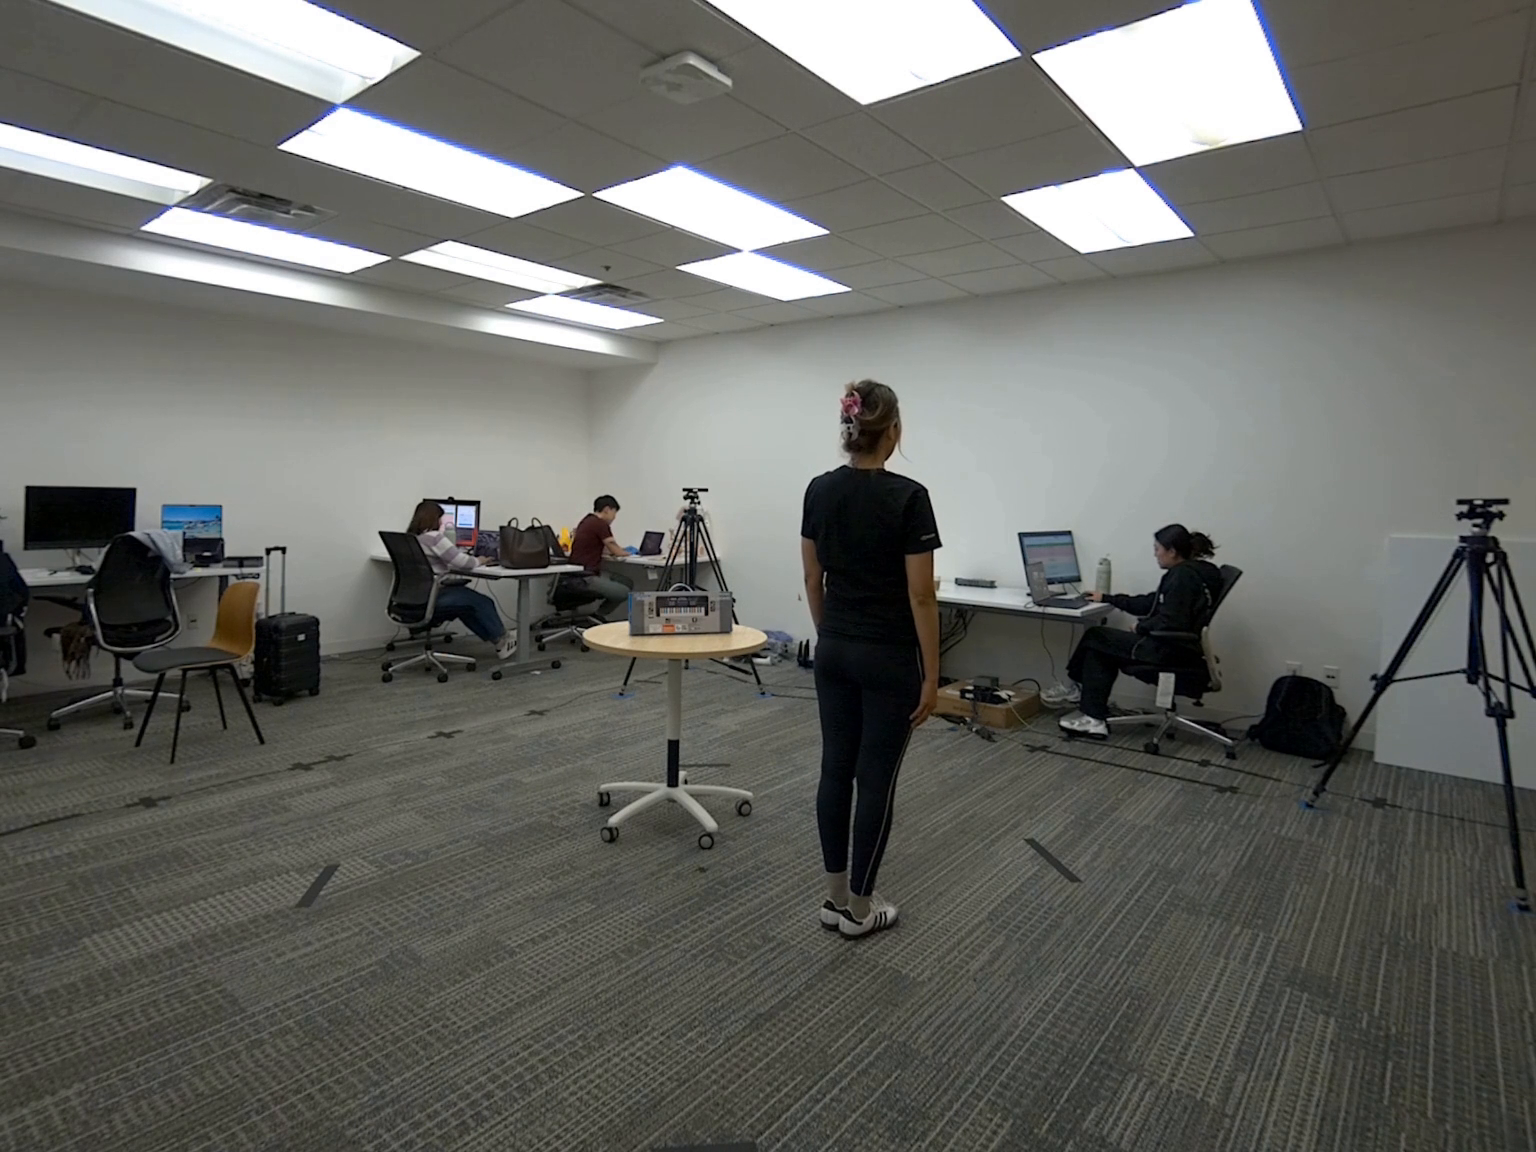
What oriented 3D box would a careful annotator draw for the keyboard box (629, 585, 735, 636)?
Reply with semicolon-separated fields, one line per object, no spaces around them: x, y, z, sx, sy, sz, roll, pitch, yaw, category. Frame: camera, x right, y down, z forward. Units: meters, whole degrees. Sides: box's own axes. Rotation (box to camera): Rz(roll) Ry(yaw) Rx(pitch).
-0.379;0.148;3.565;0.429;0.176;0.060;-1;-1;-17;keyboard box
